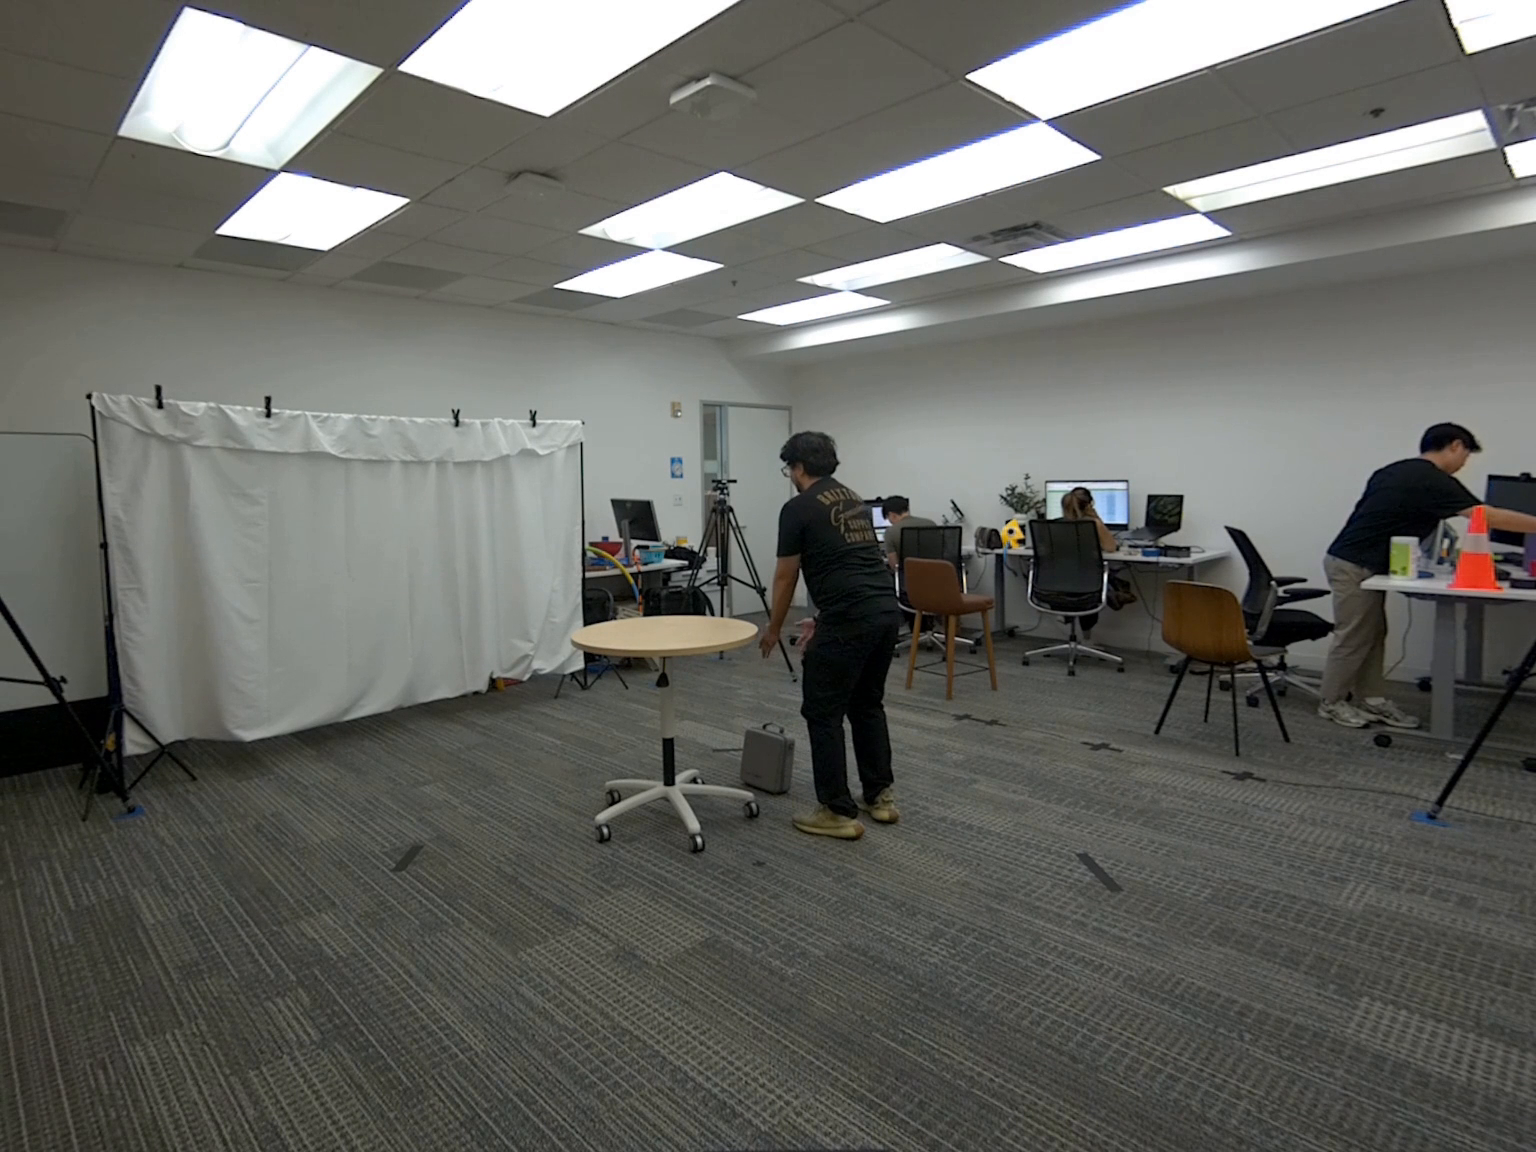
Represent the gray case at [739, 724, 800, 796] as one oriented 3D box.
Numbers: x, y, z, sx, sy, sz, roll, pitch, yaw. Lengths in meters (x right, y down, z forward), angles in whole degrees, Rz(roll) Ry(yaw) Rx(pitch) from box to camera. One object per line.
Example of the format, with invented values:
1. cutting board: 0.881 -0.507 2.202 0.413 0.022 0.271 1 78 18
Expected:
1. gray case: 0.003 0.828 3.890 0.101 0.261 0.264 9 -4 -41
